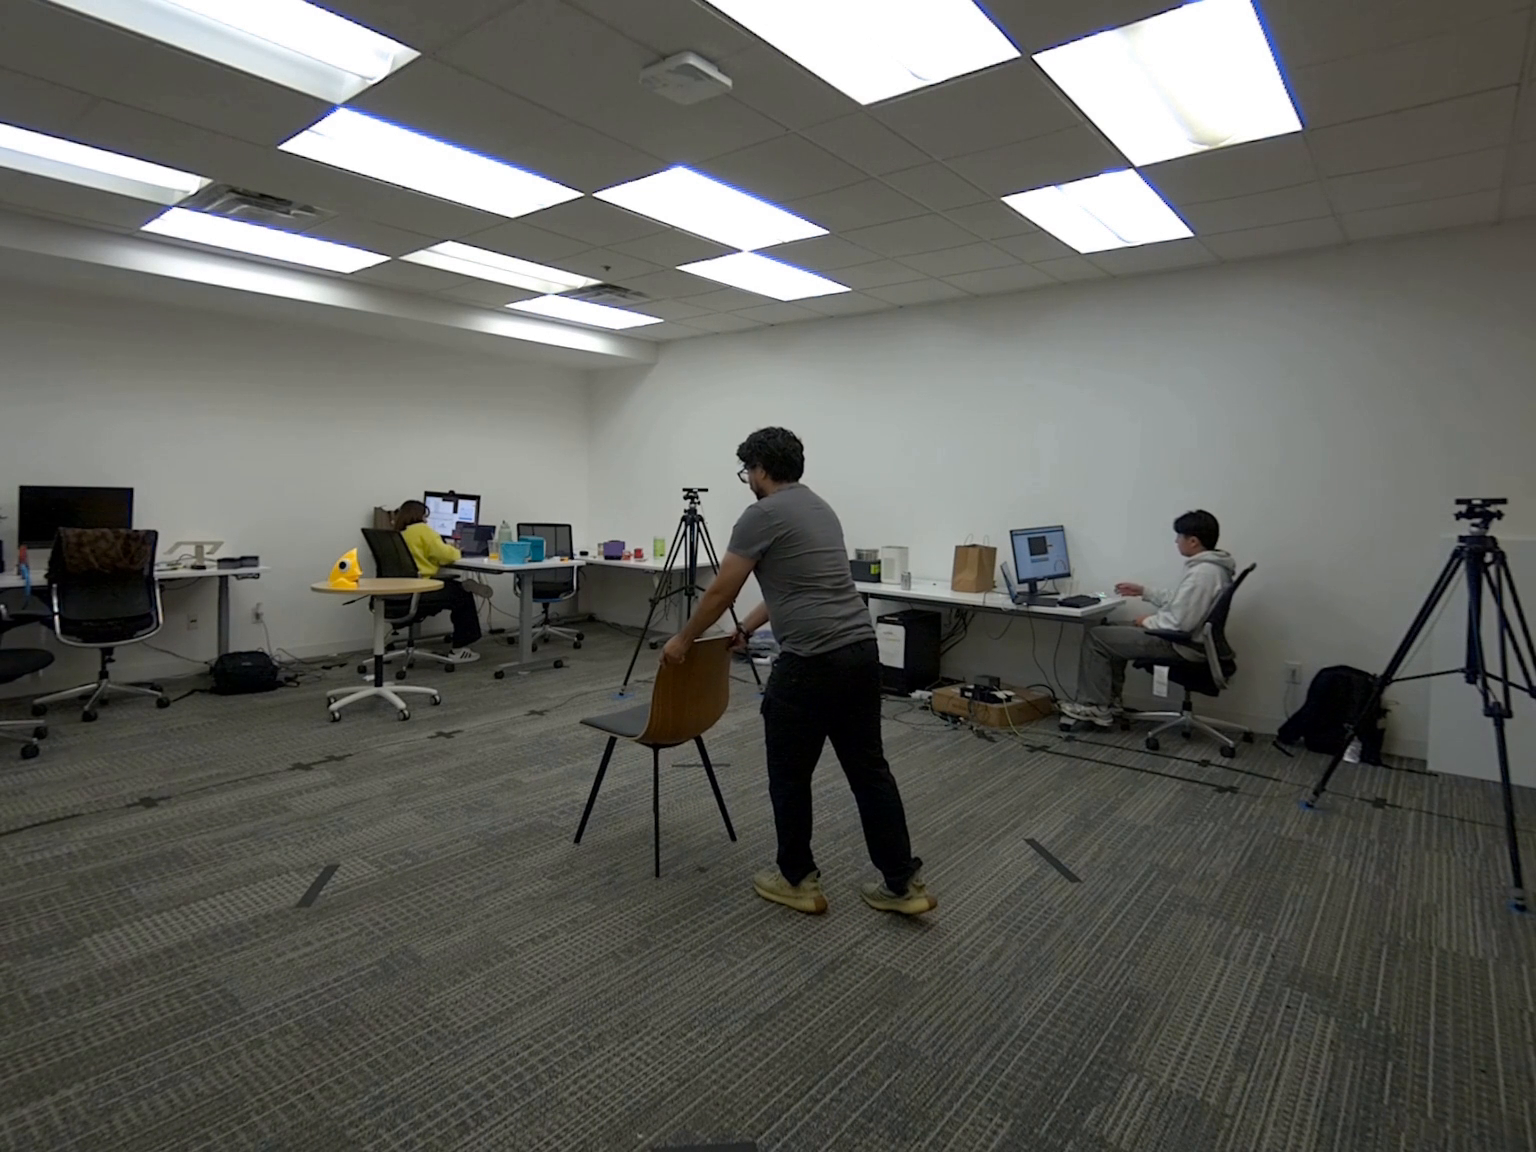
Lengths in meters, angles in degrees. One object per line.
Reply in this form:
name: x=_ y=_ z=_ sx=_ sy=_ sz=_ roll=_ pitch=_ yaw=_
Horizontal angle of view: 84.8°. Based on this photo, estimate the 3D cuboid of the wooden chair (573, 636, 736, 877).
wooden chair: x=-0.446 y=0.615 z=3.320 sx=0.542 sy=0.873 sz=0.464 roll=10 pitch=8 yaw=38
